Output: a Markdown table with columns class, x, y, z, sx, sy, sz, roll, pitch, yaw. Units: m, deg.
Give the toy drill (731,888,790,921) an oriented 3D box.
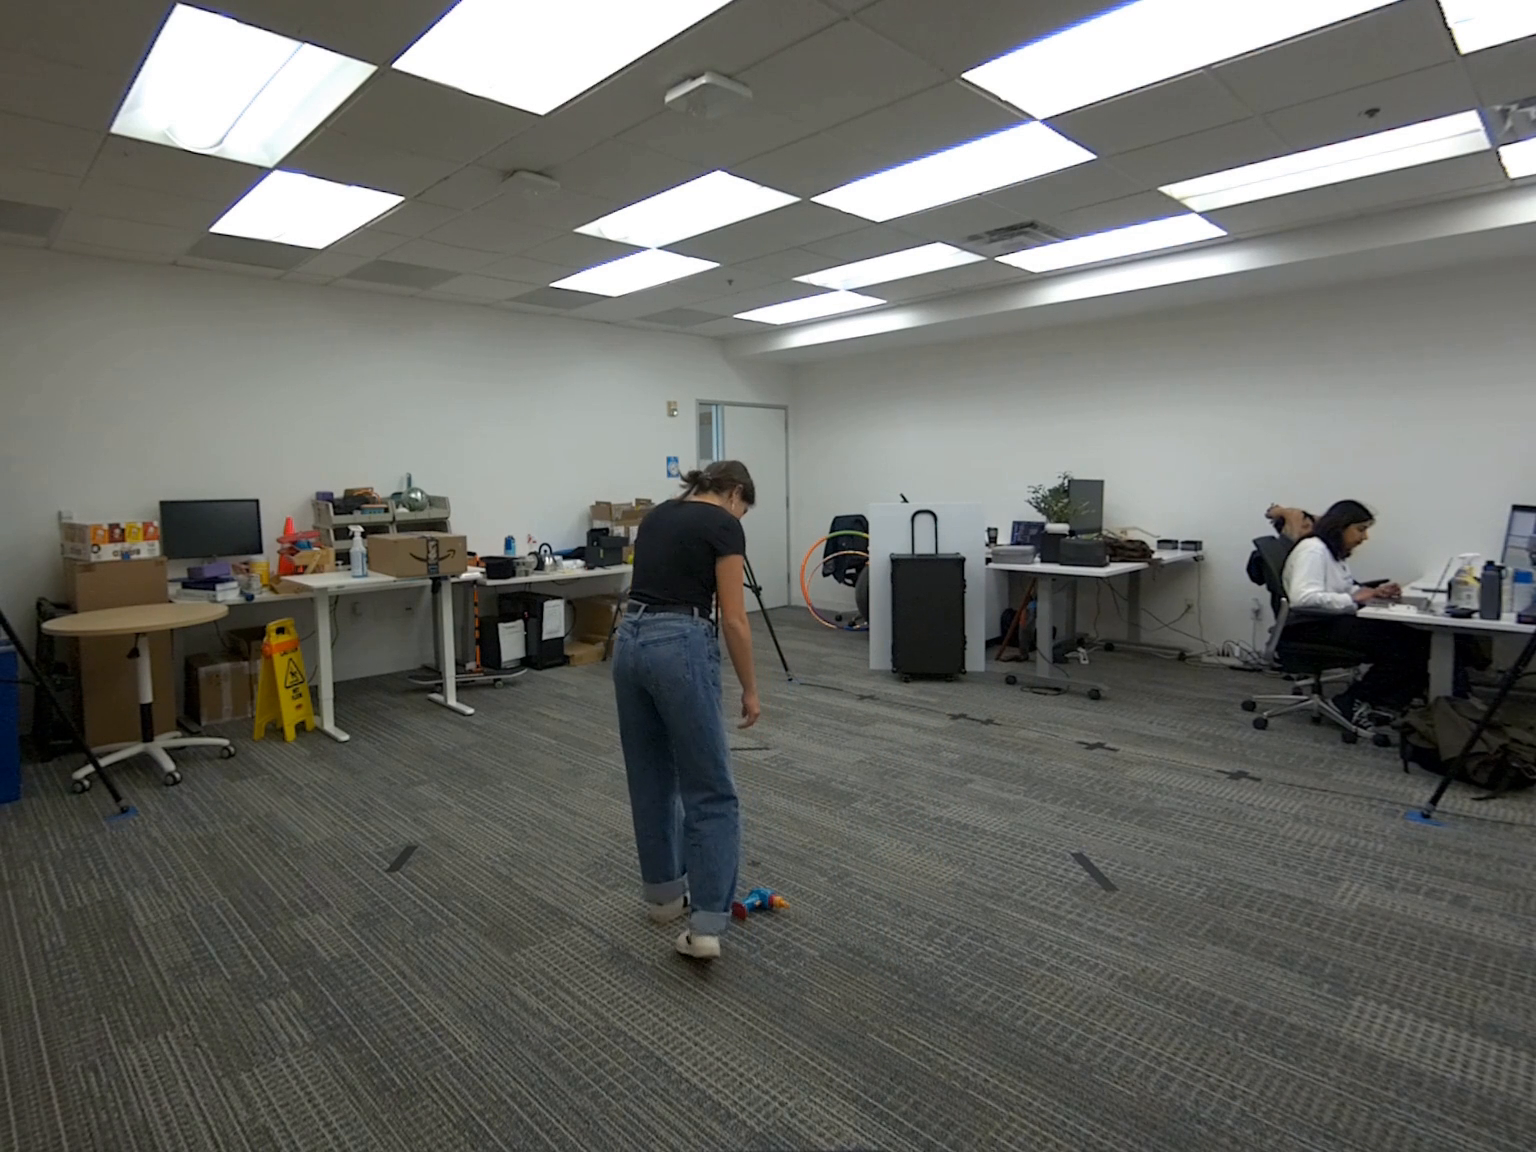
| class | x | y | z | sx | sy | sz | roll | pitch | yaw |
| --- | --- | --- | --- | --- | --- | --- | --- | --- | --- |
| toy drill | -0.014 | 1.063 | 2.751 | 0.174 | 0.061 | 0.142 | -1 | 5 | 43 |
